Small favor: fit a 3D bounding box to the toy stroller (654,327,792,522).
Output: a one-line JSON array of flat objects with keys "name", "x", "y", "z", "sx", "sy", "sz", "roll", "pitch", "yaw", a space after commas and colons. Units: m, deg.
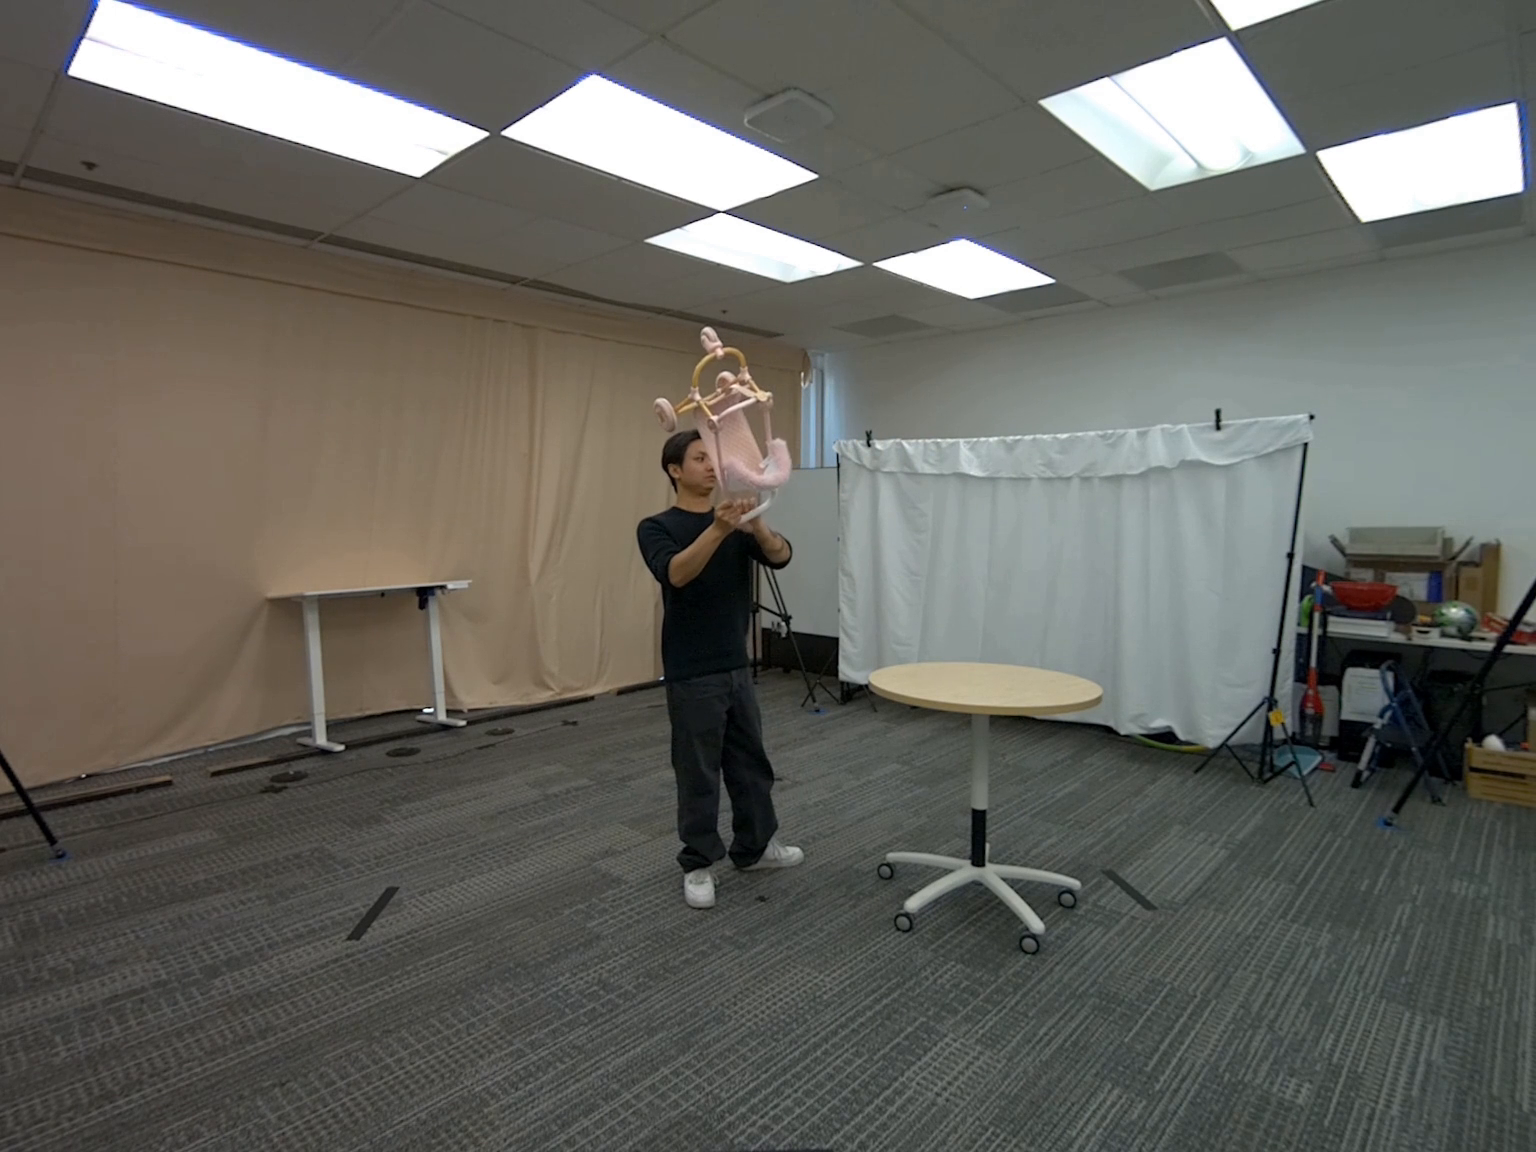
[{"name": "toy stroller", "x": -0.099, "y": -0.456, "z": 2.561, "sx": 0.276, "sy": 0.539, "sz": 0.345, "roll": -26, "pitch": -7, "yaw": -33}]
